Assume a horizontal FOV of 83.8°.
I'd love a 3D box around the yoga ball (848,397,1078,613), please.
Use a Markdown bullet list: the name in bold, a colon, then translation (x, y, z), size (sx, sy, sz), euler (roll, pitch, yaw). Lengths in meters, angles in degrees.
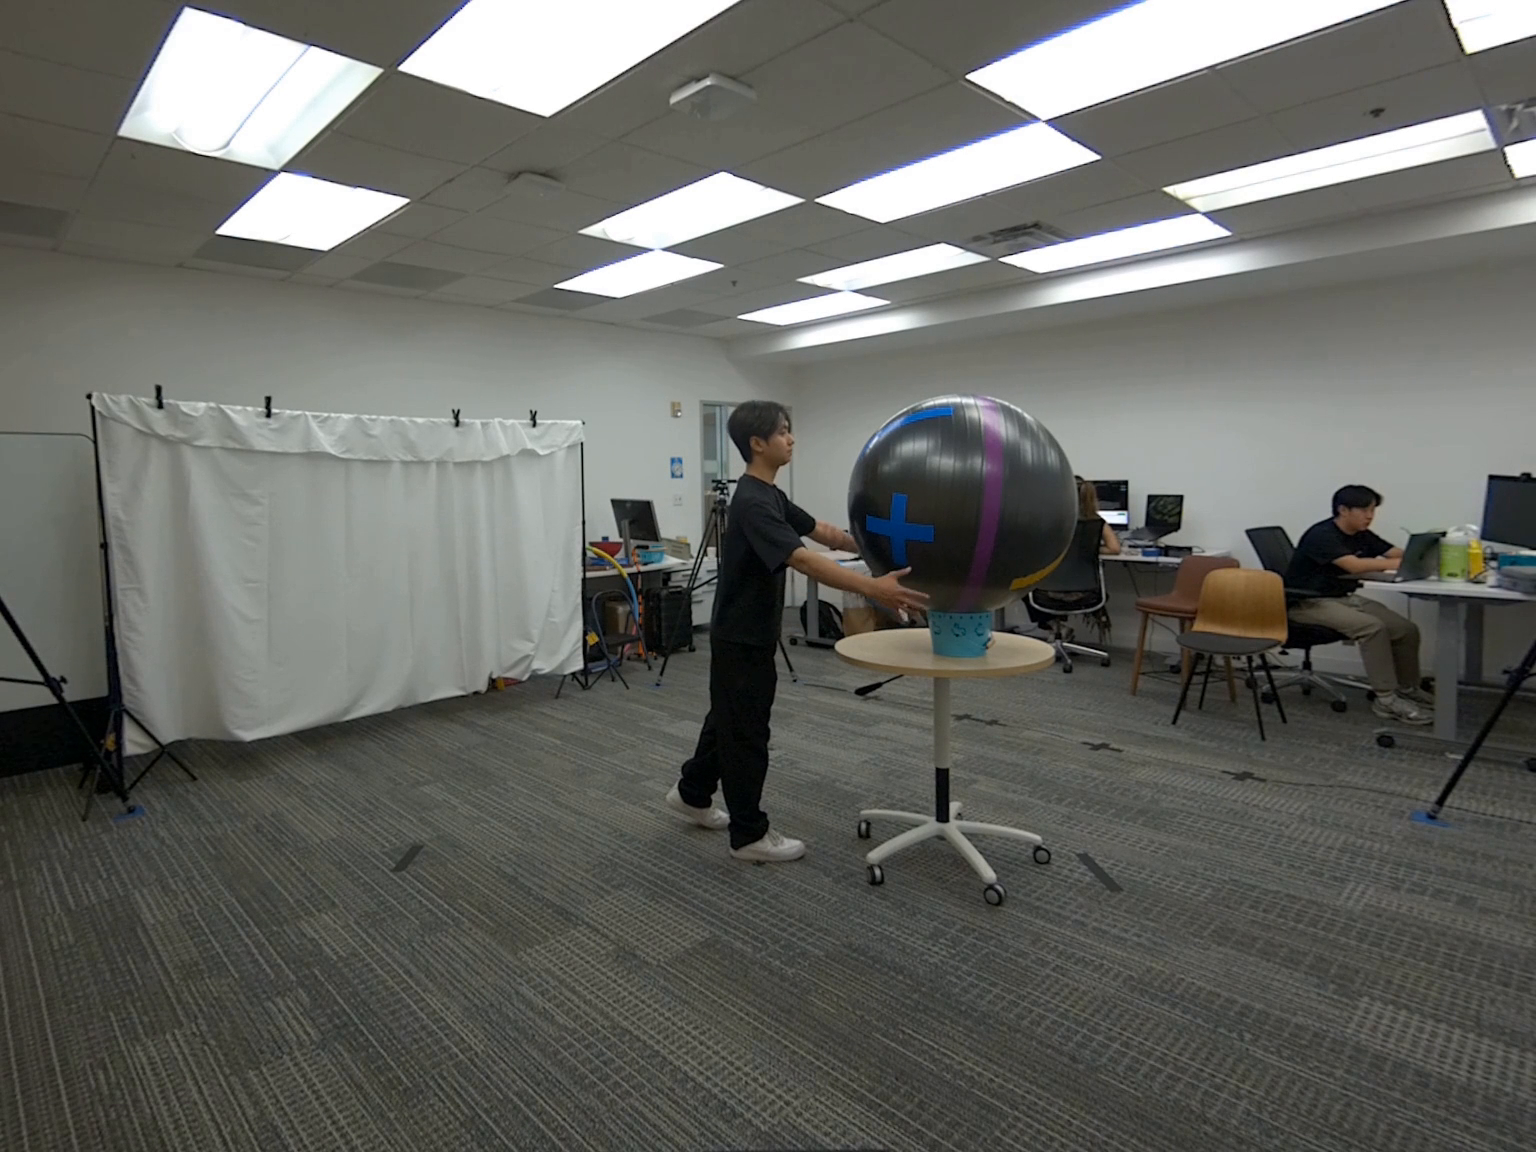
- **yoga ball**: translation (0.672, -0.247, 2.956), size (0.757, 0.755, 0.762), euler (-1, 5, -2)
